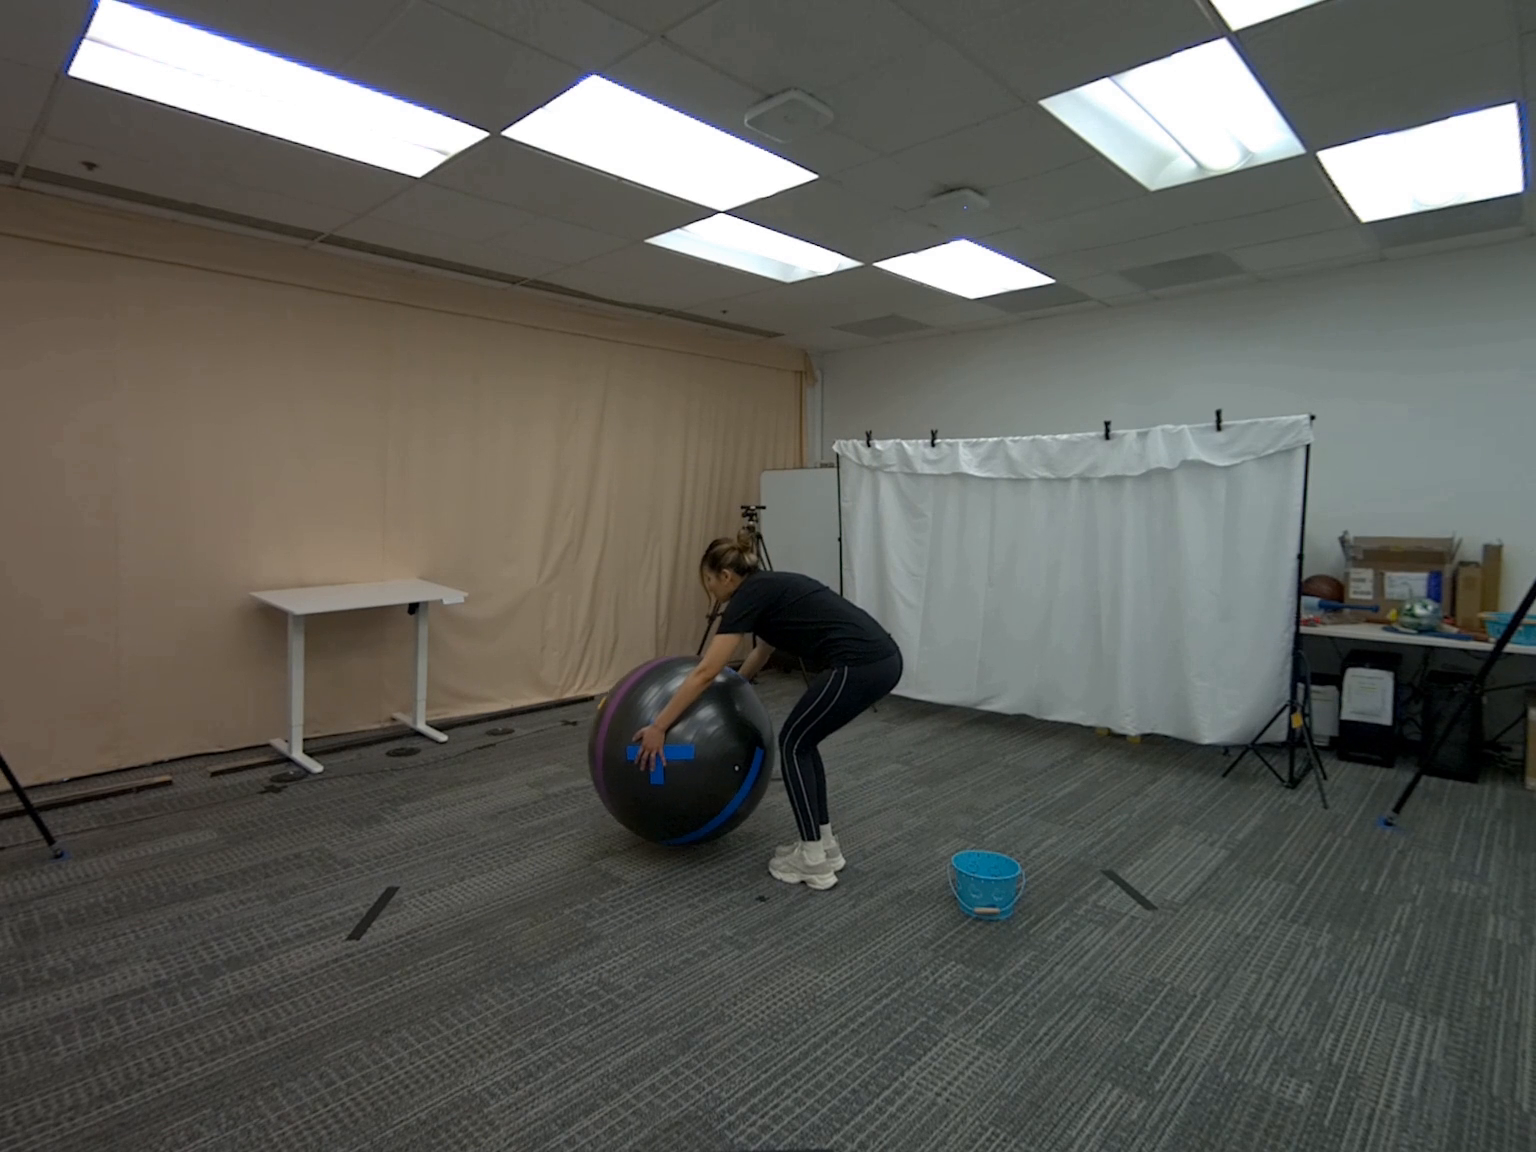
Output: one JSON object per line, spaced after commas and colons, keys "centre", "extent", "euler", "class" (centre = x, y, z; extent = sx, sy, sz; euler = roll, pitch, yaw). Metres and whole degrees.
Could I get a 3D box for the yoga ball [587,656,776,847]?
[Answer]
{"centre": [-0.357, 0.693, 3.432], "extent": [0.757, 0.756, 0.761], "euler": [0, 4, -2], "class": "yoga ball"}
